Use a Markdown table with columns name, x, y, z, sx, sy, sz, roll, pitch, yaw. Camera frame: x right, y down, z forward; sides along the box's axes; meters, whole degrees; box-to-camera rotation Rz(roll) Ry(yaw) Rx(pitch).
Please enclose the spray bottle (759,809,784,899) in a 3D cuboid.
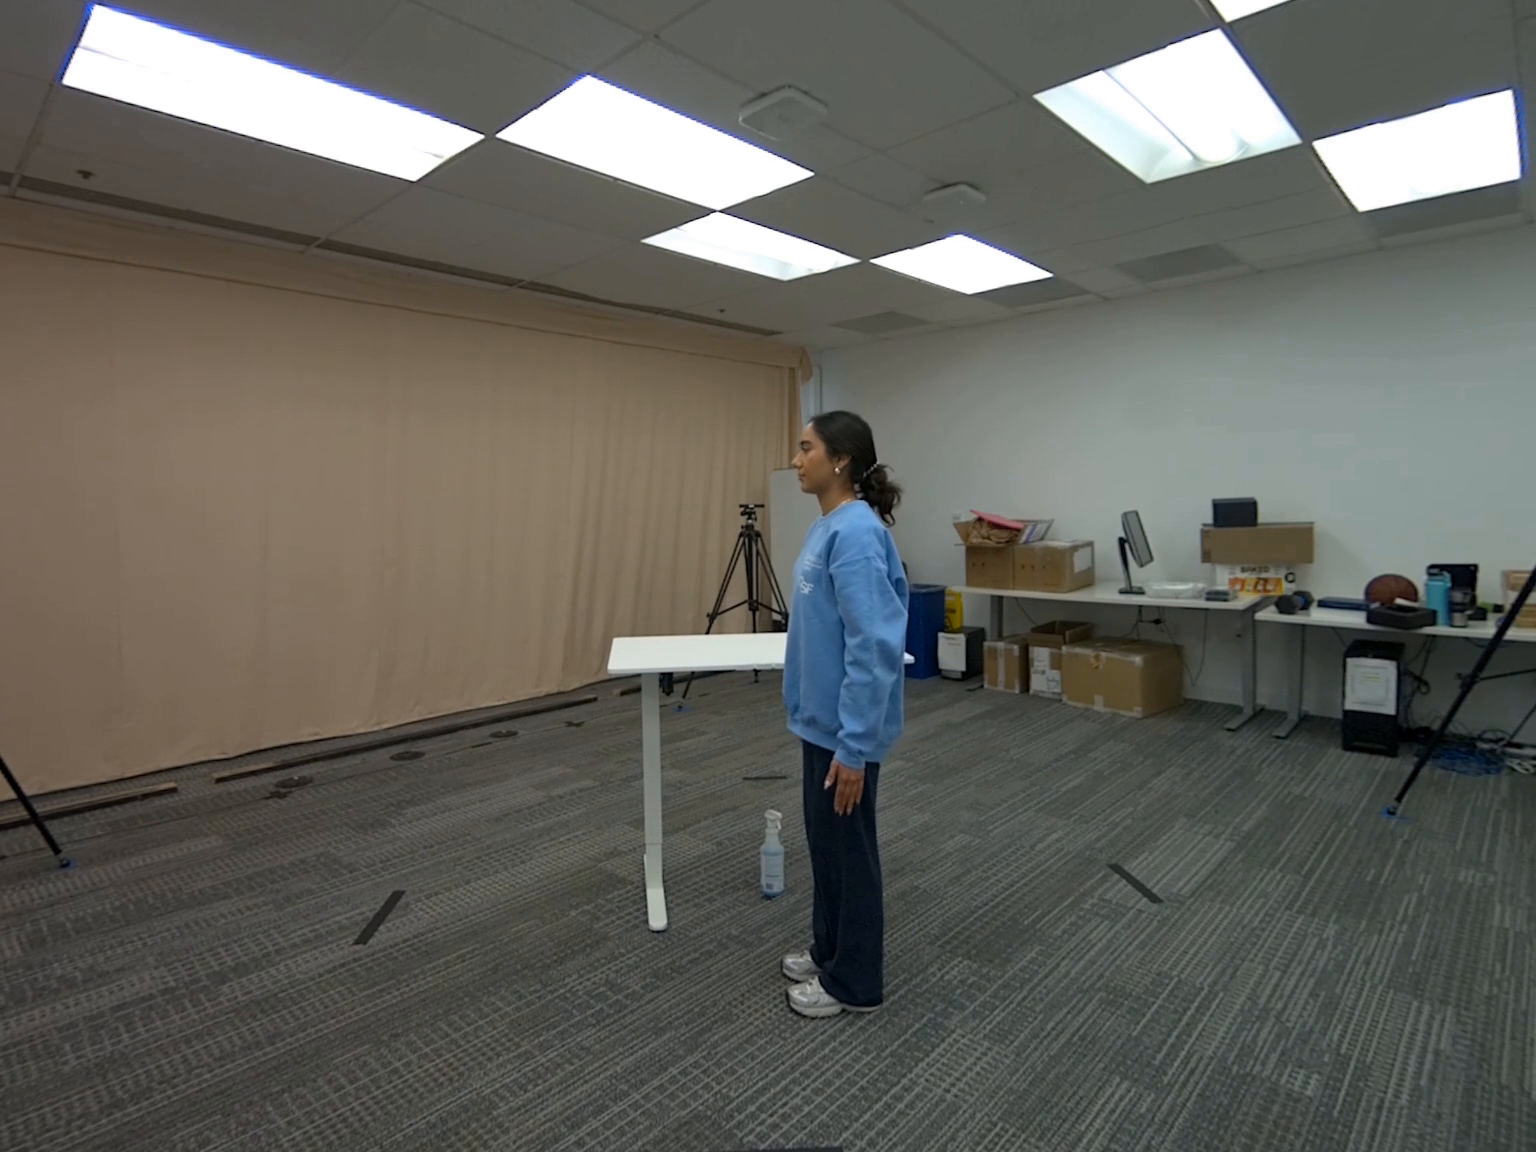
| name | x | y | z | sx | sy | sz | roll | pitch | yaw |
| --- | --- | --- | --- | --- | --- | --- | --- | --- | --- |
| spray bottle | 0.019 | 0.989 | 3.019 | 0.086 | 0.297 | 0.091 | 2 | 2 | -11 |
